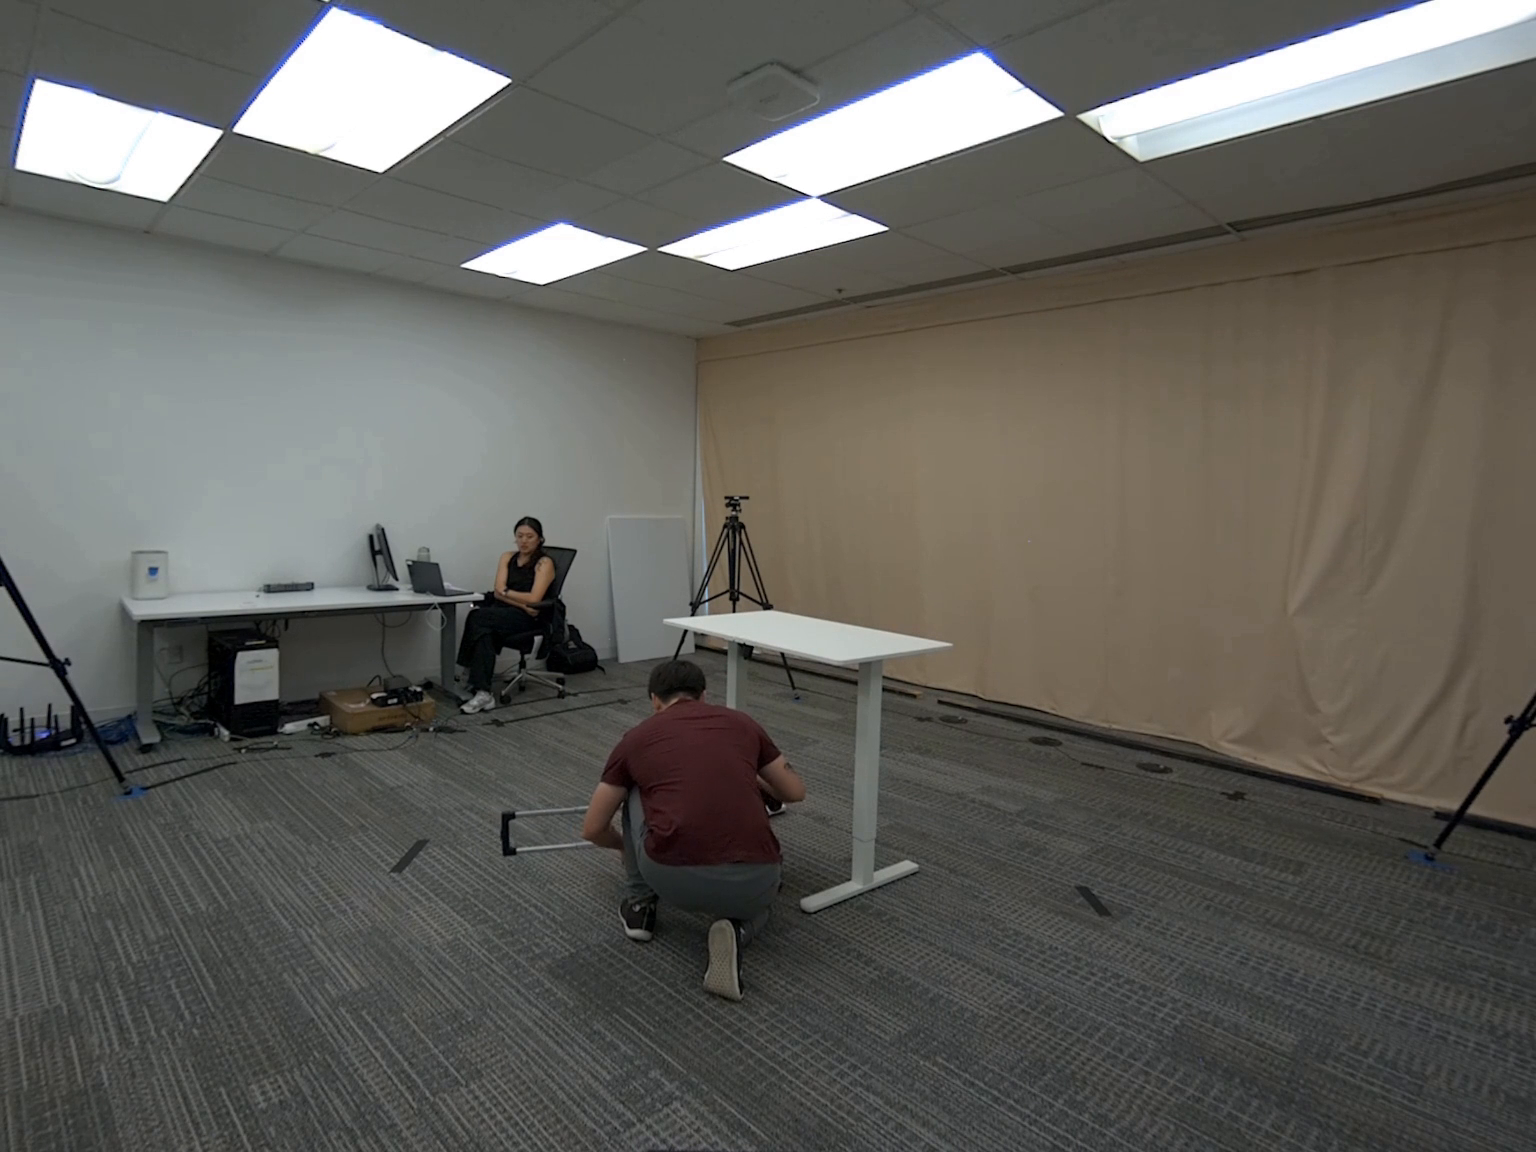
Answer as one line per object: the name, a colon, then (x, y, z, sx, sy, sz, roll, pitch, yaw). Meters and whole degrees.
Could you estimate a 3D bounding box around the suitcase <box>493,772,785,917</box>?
suitcase: (-0.454, 0.919, 2.995, 0.971, 0.383, 0.260, 0, 3, -10)
